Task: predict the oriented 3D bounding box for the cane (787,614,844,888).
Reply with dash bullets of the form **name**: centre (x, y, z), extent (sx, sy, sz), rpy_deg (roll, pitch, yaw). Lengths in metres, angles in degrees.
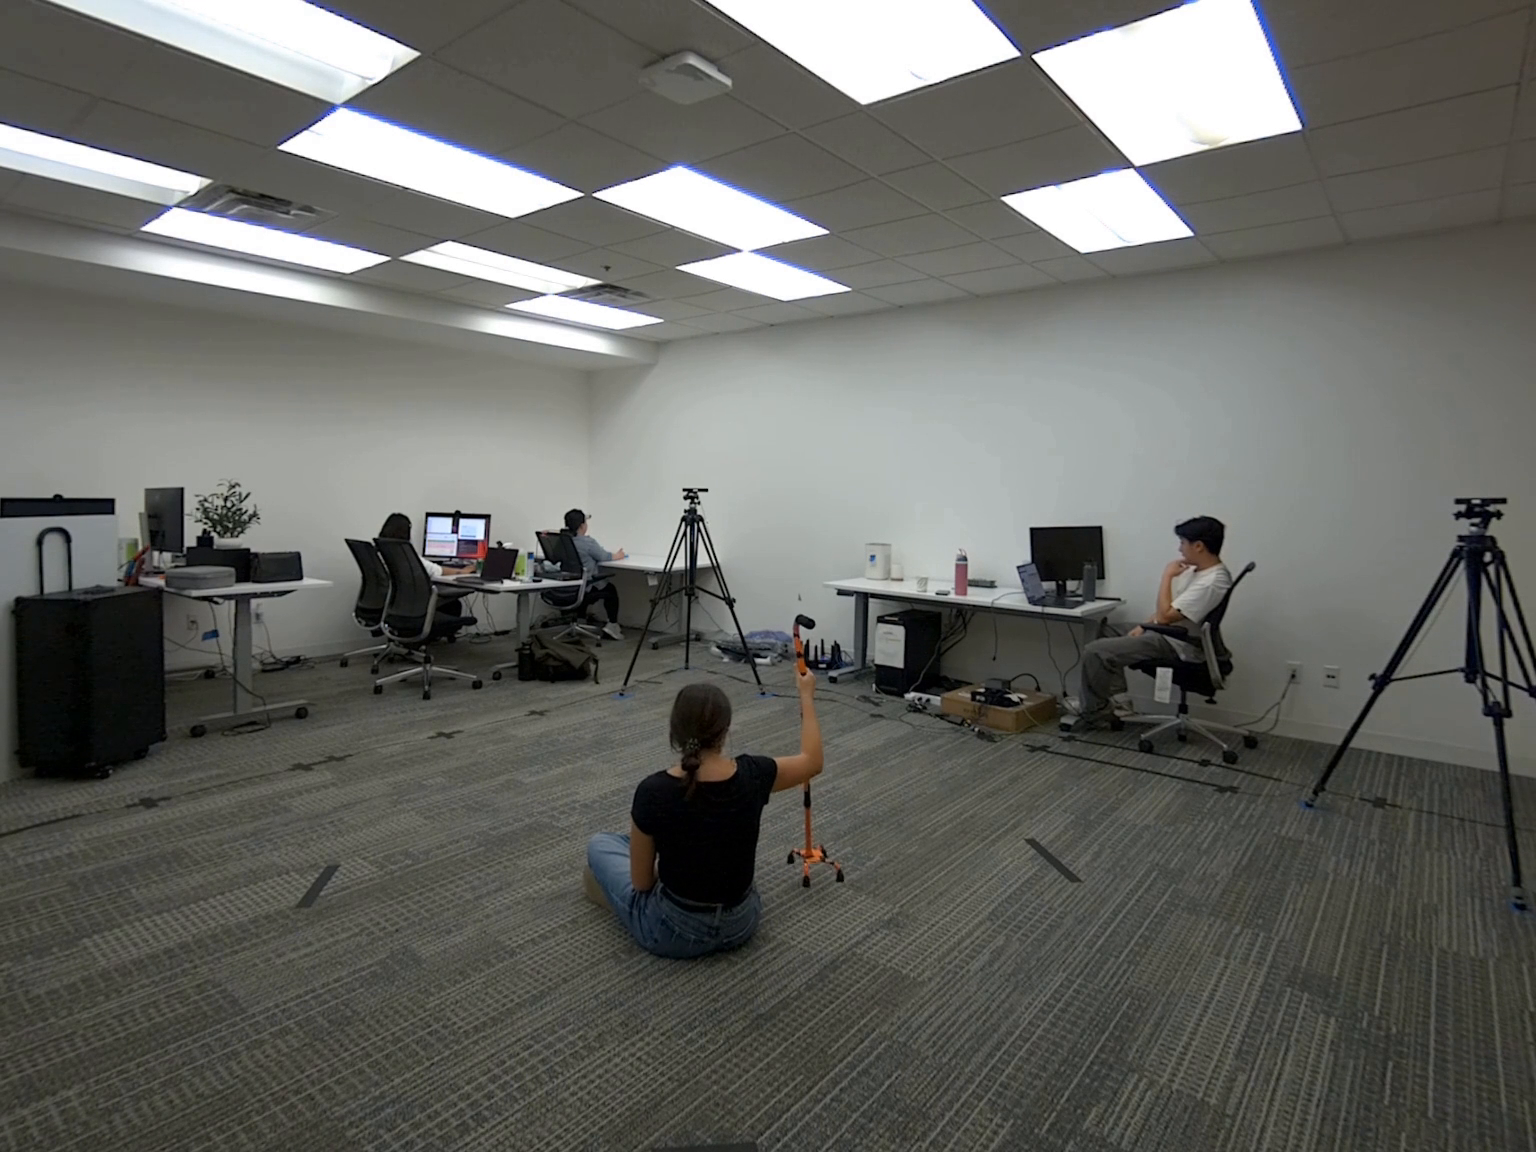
- **cane**: centre (0.145, 0.583, 2.954), extent (0.150, 0.903, 0.210), rpy_deg (-4, 5, -14)
